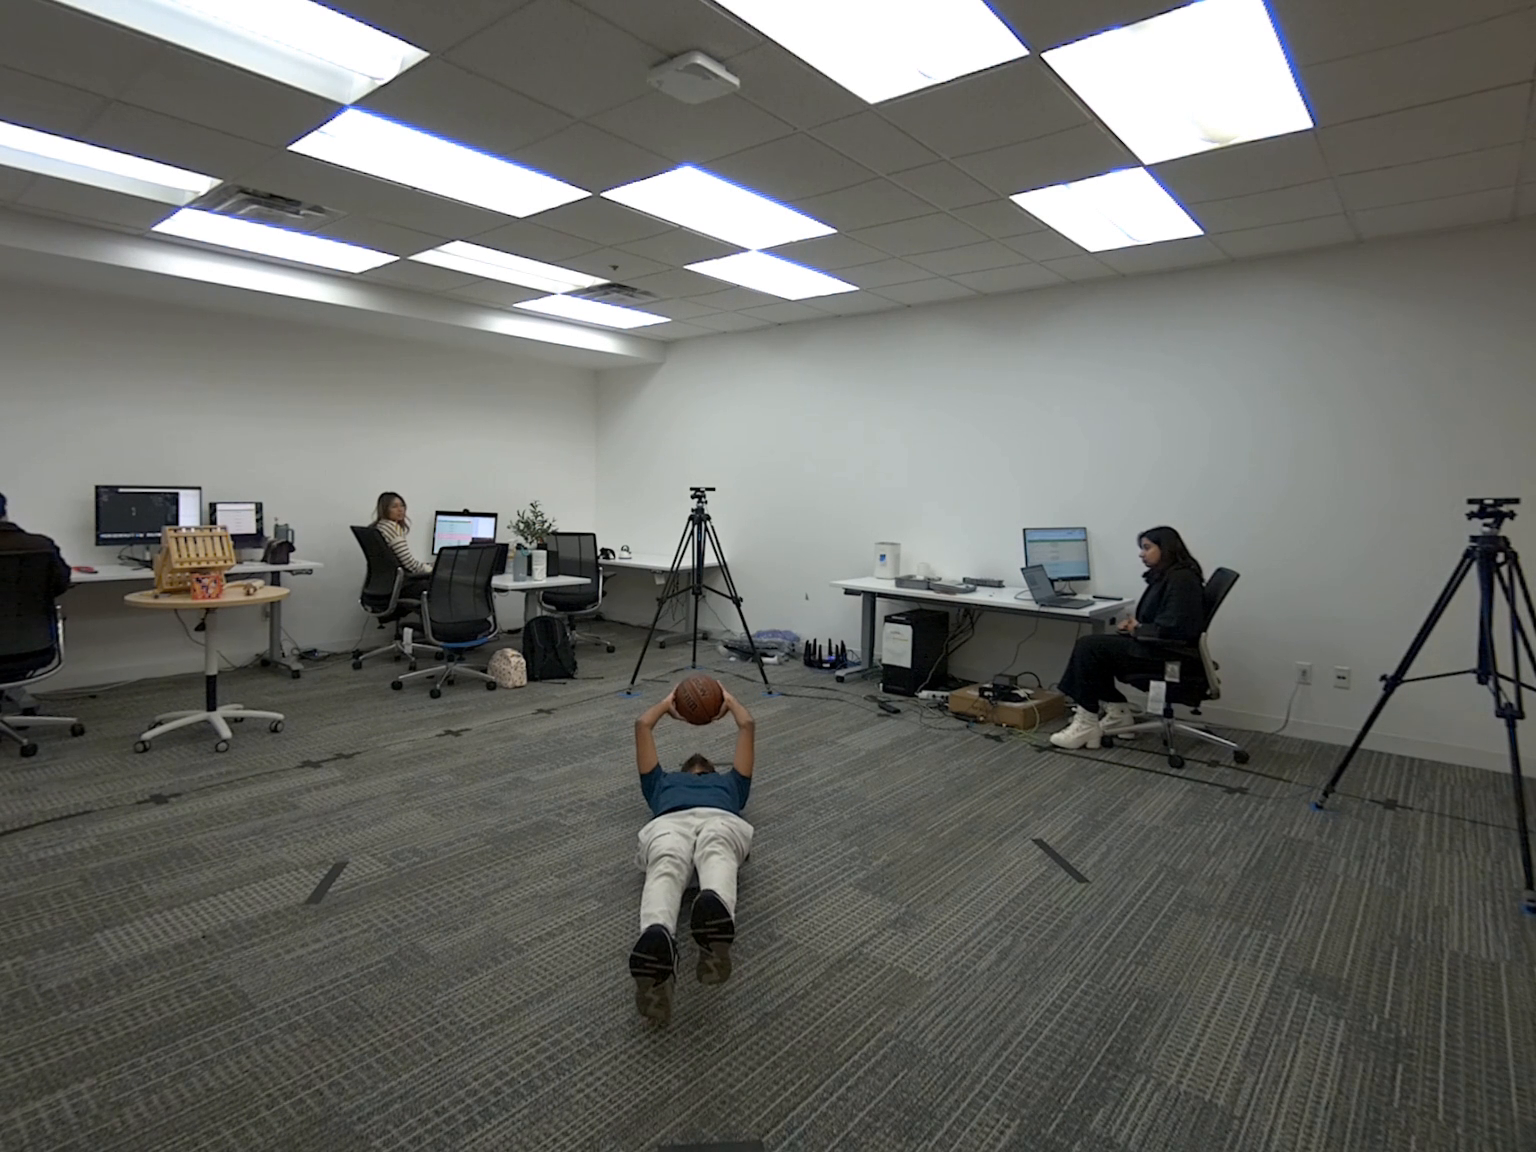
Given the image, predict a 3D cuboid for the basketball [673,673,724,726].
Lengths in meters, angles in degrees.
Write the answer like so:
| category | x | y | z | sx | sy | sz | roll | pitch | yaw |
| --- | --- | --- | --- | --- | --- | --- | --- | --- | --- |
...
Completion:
| category | x | y | z | sx | sy | sz | roll | pitch | yaw |
| --- | --- | --- | --- | --- | --- | --- | --- | --- | --- |
| basketball | -0.333 | 0.581 | 4.047 | 0.235 | 0.235 | 0.237 | 1 | 4 | -2 |
